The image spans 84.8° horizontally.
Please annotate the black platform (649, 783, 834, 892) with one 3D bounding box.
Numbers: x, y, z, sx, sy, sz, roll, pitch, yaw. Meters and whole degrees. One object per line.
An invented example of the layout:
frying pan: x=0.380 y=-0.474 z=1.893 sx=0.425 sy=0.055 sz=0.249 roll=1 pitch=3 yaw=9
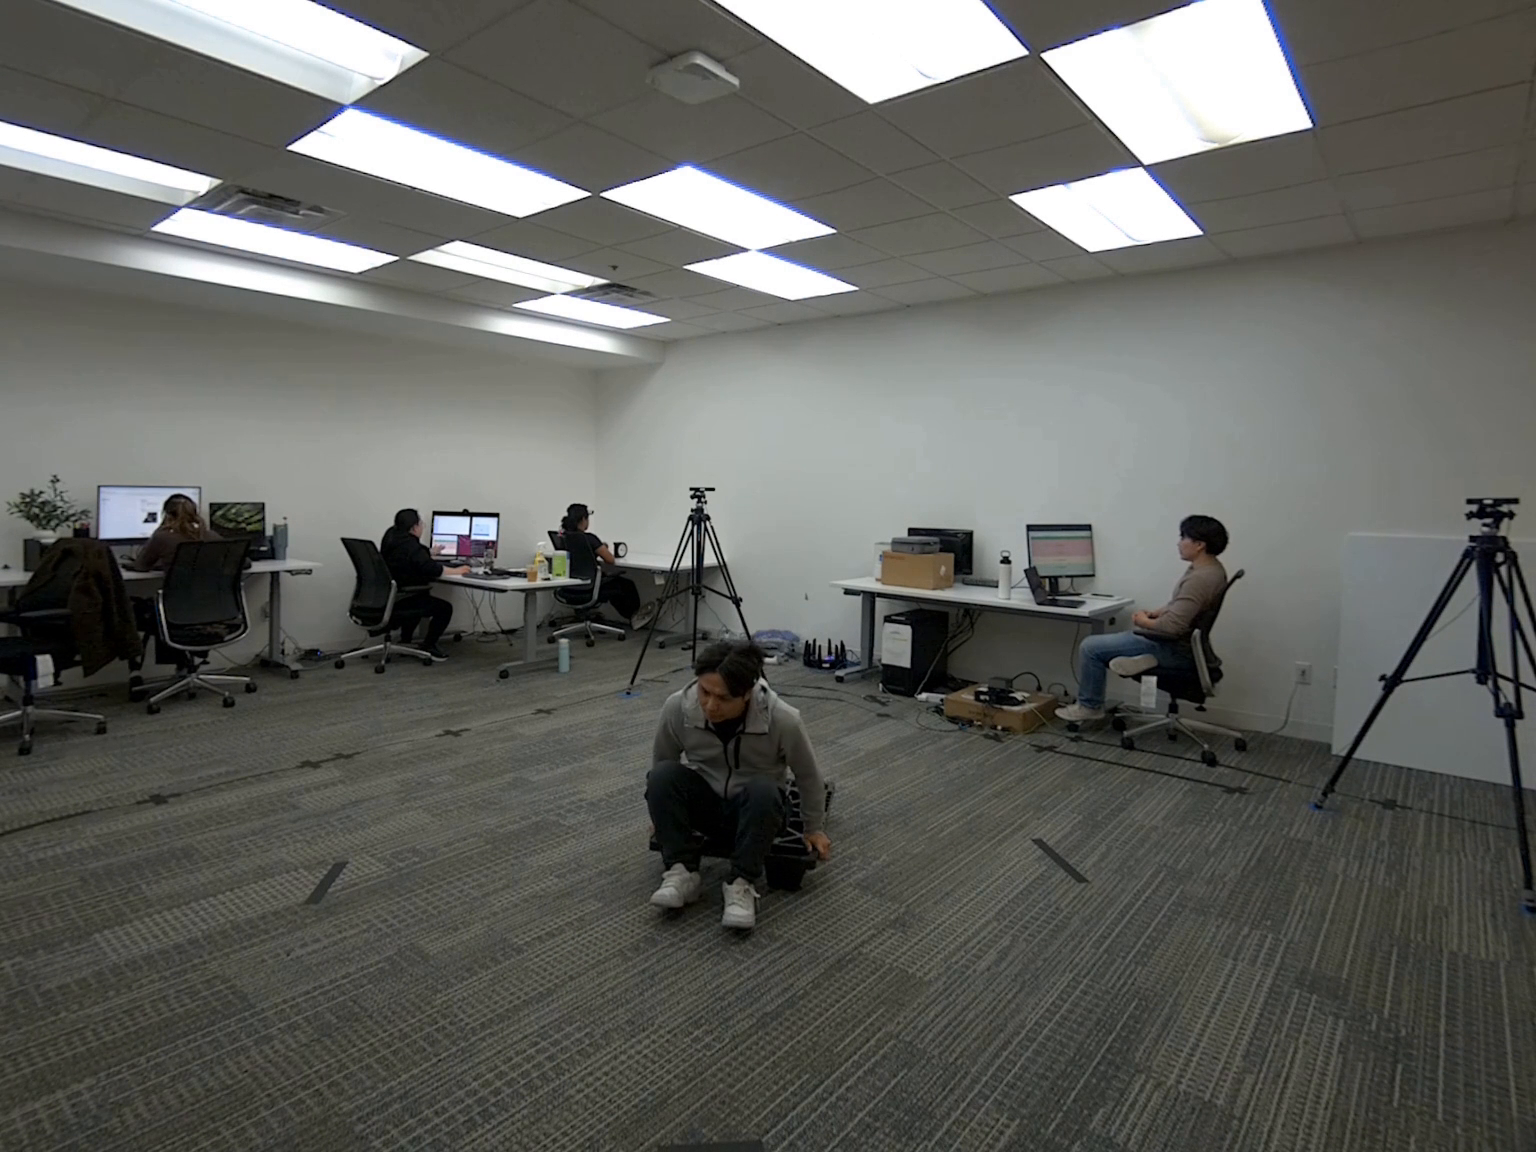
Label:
black platform: x=-0.077 y=0.972 z=3.346 sx=0.613 sy=0.143 sz=0.799 roll=1 pitch=6 yaw=10
